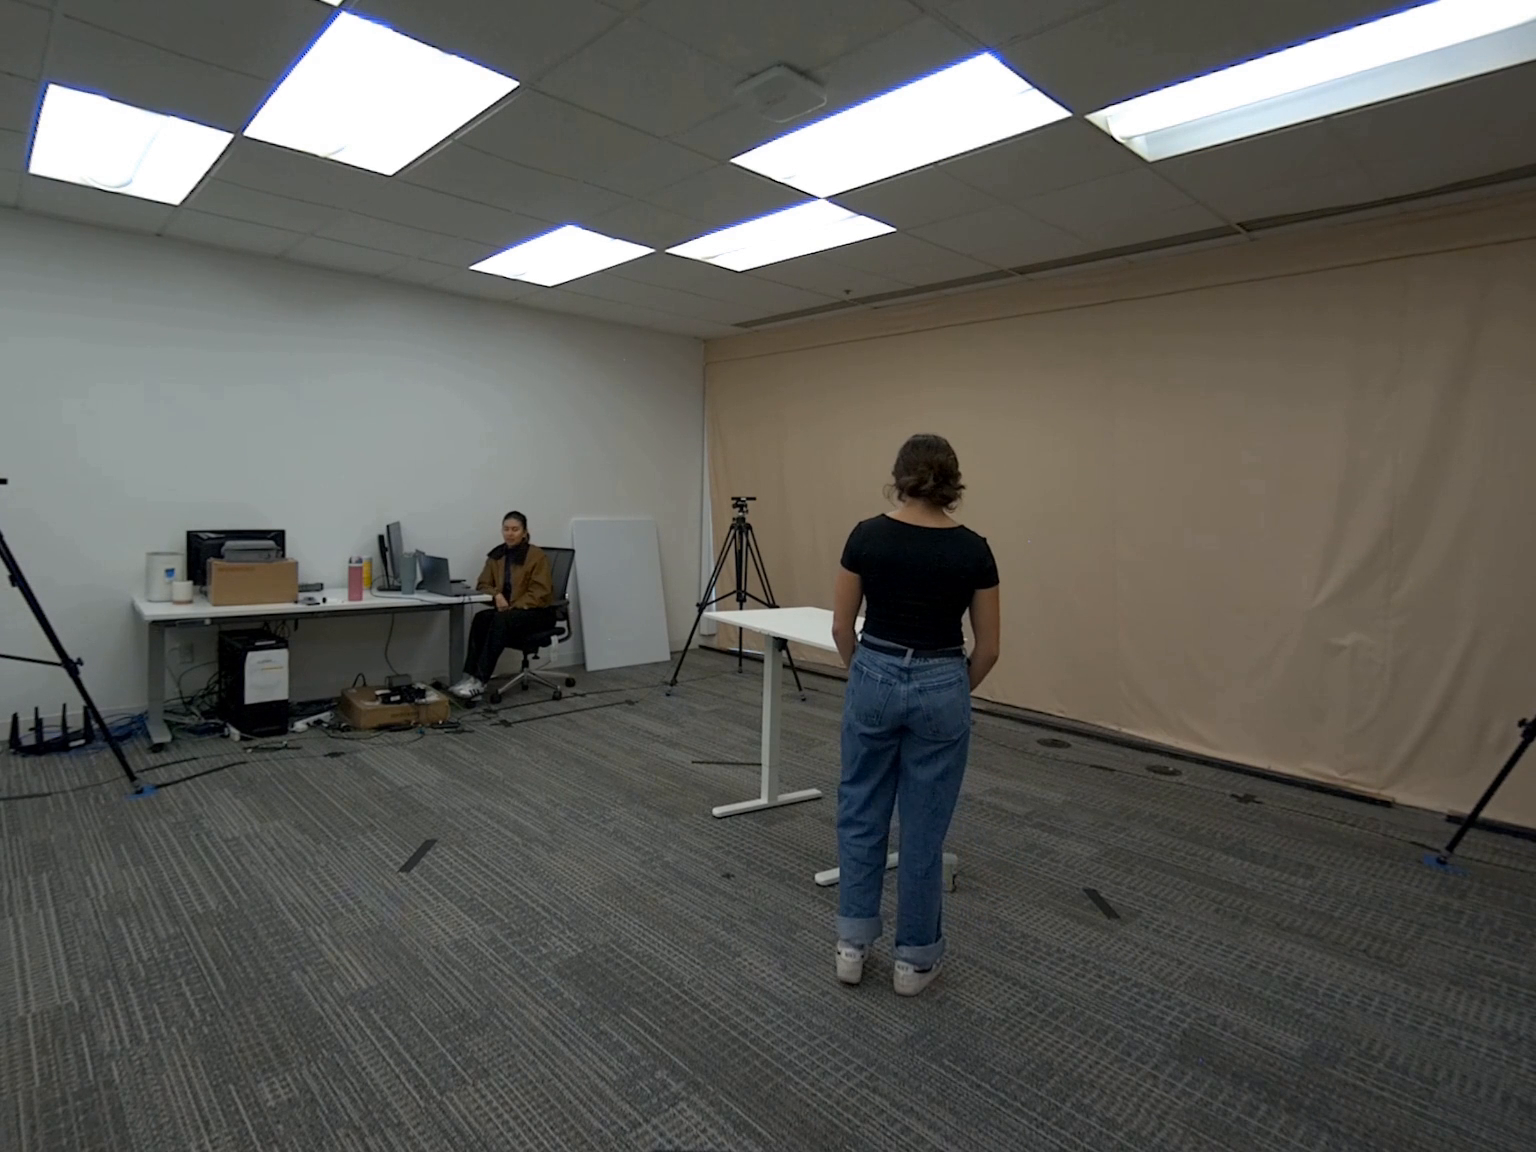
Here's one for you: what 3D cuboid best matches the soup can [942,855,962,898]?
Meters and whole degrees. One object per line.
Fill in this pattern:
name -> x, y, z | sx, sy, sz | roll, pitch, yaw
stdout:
soup can -> 0.642, 1.075, 3.038 | 0.067, 0.121, 0.067 | 6, 3, -2
